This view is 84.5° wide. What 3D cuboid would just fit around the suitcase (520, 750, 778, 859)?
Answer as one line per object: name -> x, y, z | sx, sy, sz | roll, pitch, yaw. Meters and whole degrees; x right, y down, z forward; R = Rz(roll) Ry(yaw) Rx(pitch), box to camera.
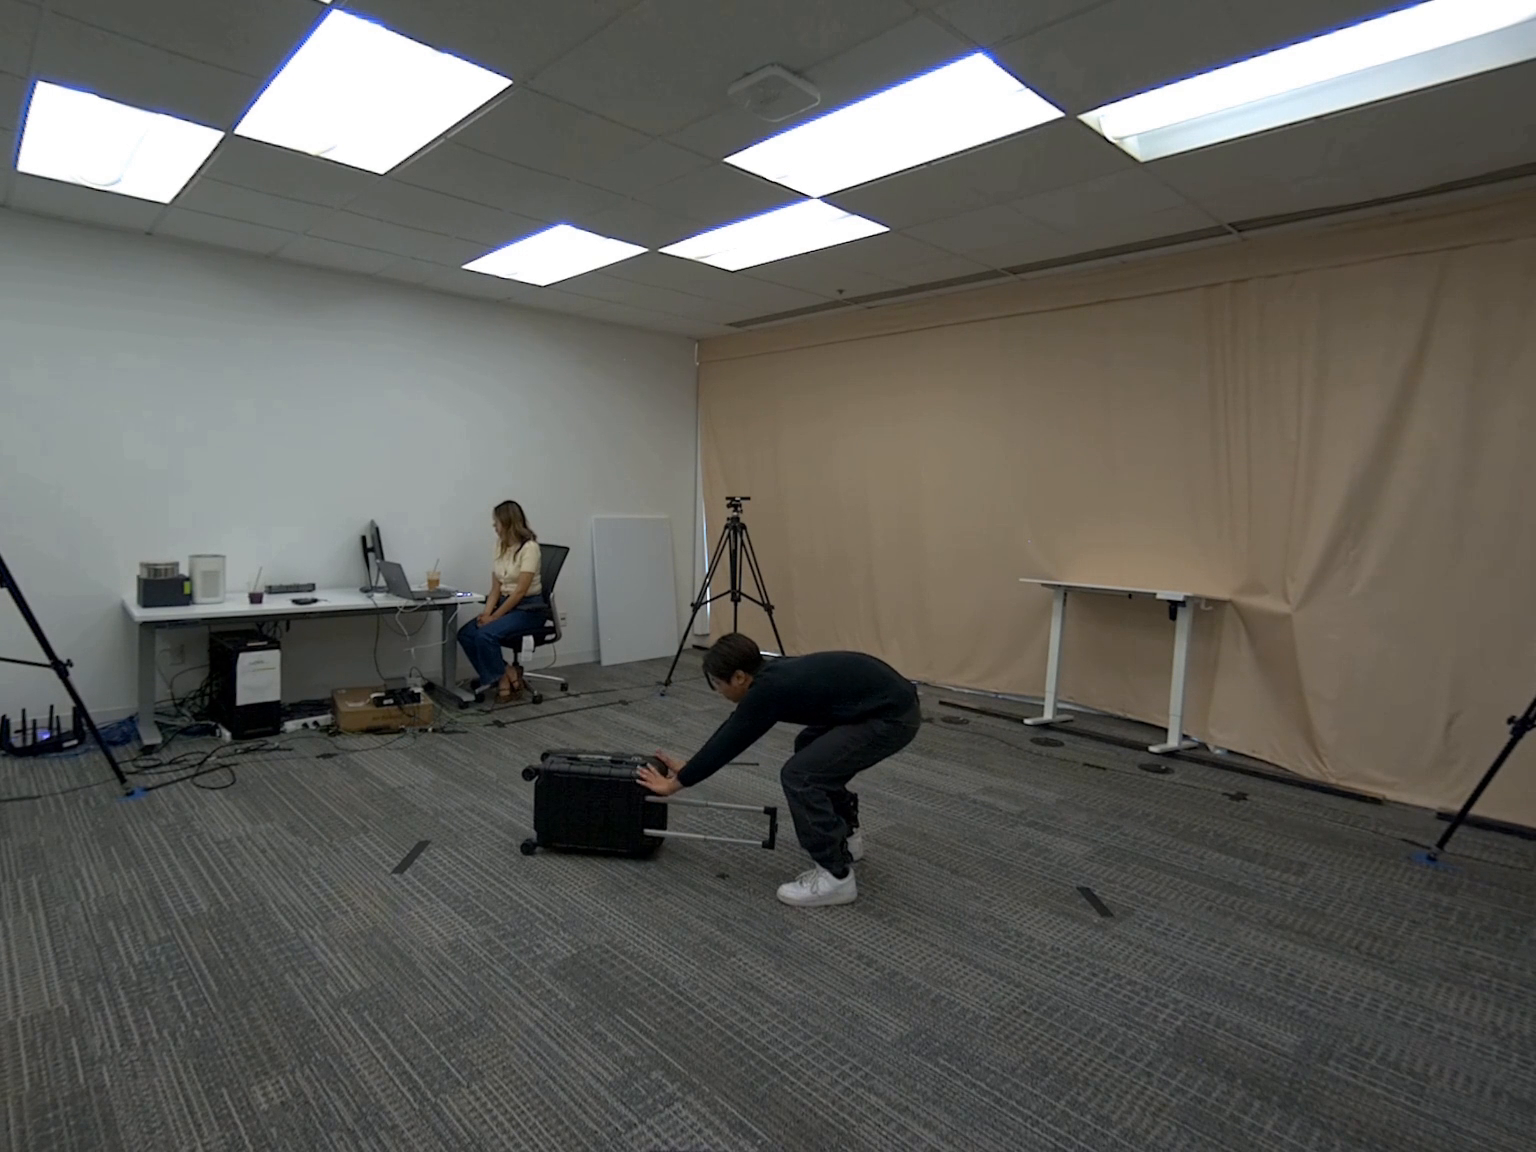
suitcase -> -0.458, 0.892, 3.289 | 0.984, 0.382, 0.256 | 1, 5, 6
